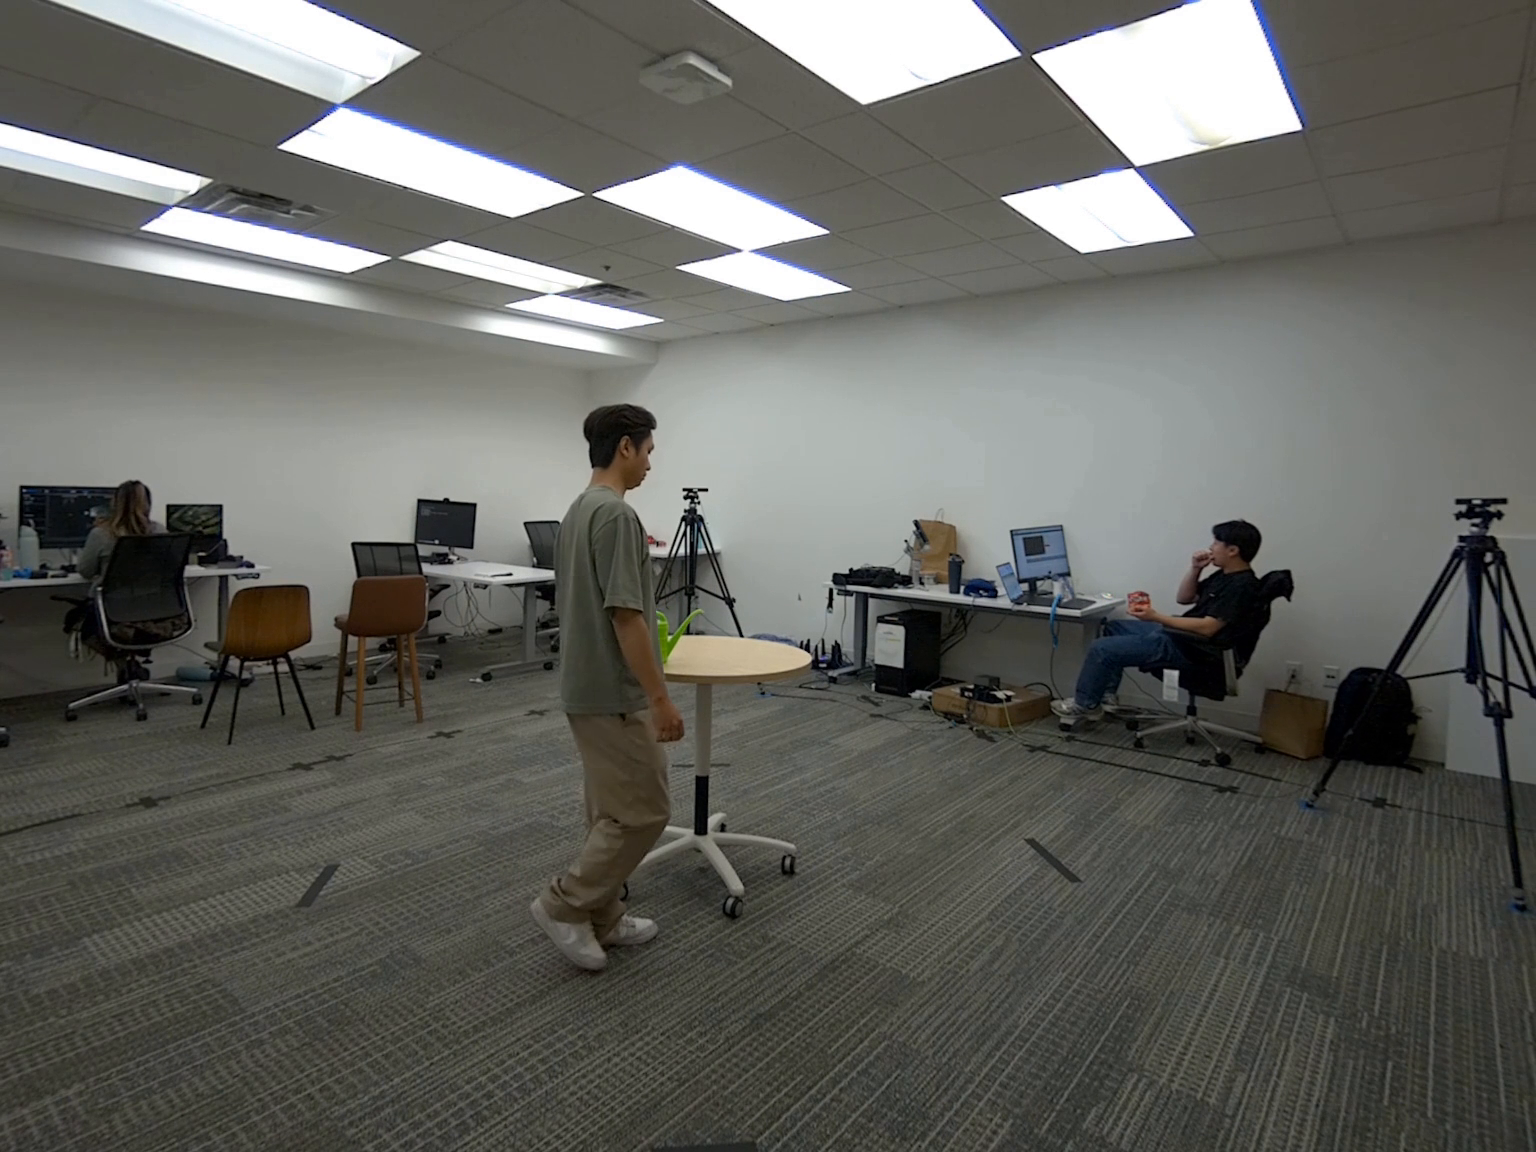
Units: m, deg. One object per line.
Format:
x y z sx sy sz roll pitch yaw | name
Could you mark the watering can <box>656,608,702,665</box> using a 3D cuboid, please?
-0.368 0.205 2.851 0.285 0.176 0.096 3 4 23 | watering can
